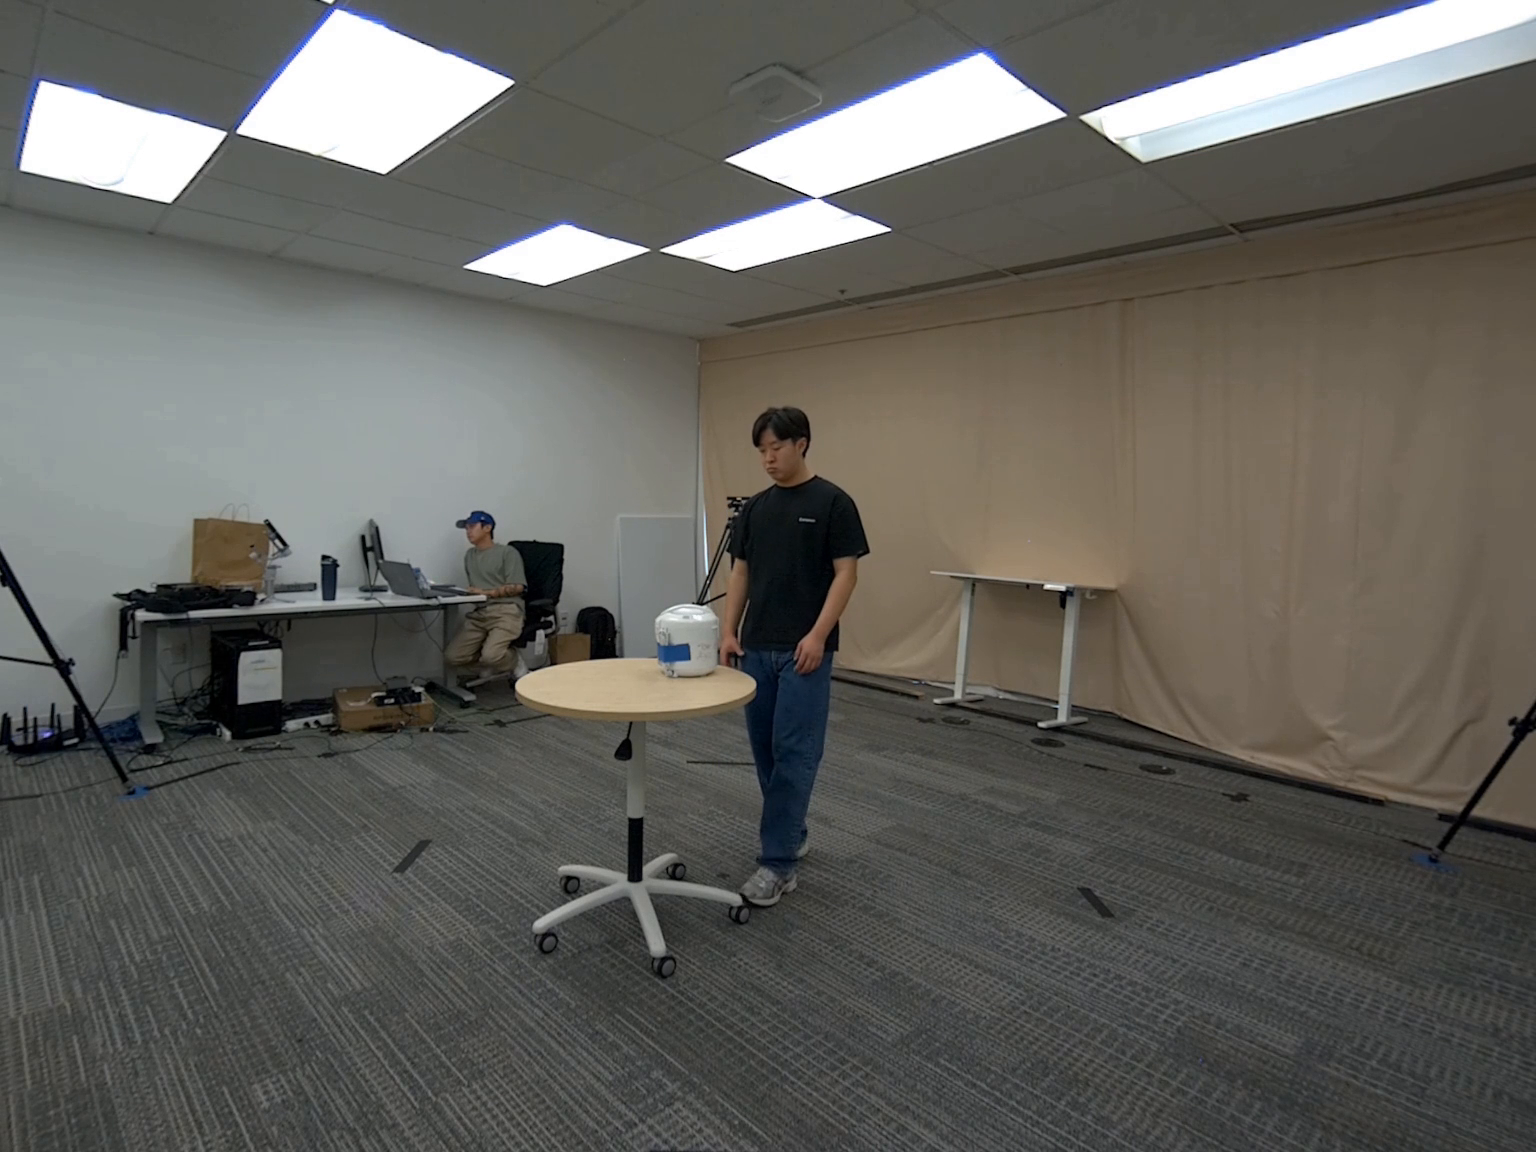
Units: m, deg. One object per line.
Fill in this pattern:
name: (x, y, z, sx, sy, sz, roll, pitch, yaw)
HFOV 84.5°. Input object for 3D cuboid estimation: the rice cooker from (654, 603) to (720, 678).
rice cooker: (-0.280, 0.215, 2.857, 0.219, 0.232, 0.220, 1, 4, -11)
